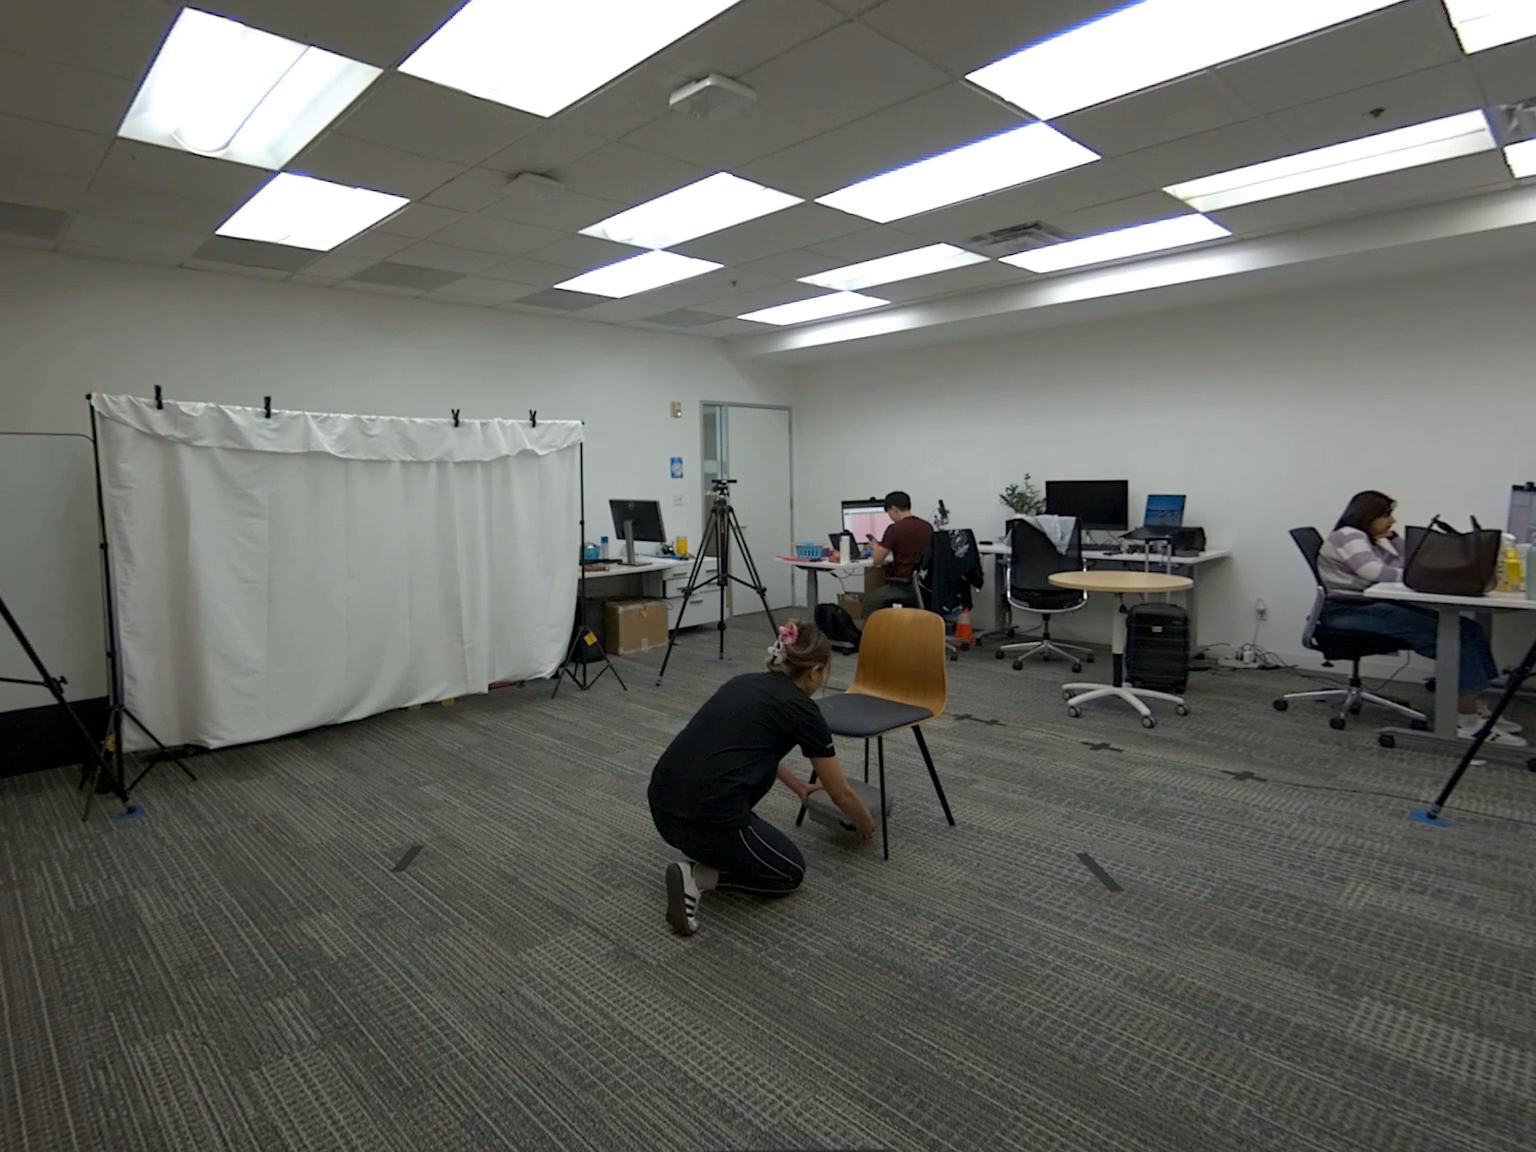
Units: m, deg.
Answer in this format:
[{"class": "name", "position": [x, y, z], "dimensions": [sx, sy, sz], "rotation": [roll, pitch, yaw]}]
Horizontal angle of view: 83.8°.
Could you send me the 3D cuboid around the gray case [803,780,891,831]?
[{"class": "gray case", "position": [0.328, 0.899, 3.314], "dimensions": [0.254, 0.103, 0.265], "rotation": [-11, 14, -44]}]
